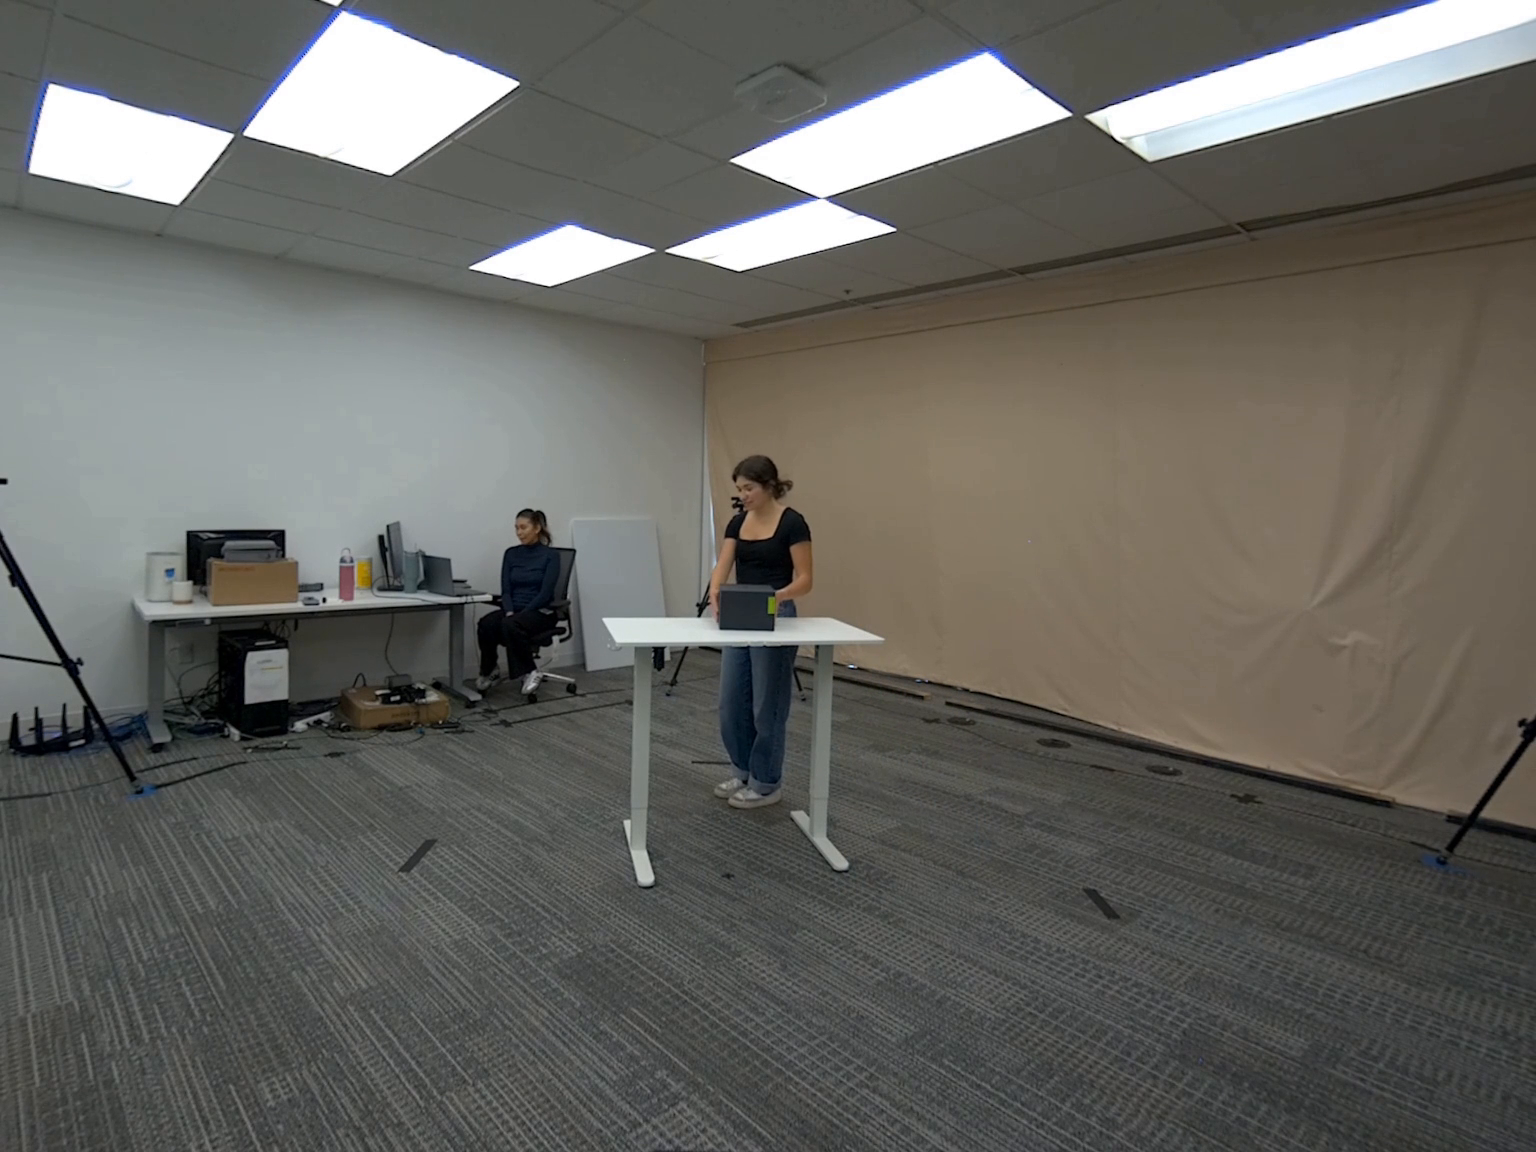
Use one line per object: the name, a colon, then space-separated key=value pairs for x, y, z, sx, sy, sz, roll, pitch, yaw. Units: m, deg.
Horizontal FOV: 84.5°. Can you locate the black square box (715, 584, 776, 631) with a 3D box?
black square box: x=-0.094 y=0.122 z=3.371 sx=0.216 sy=0.155 sz=0.229 roll=1 pitch=5 yaw=-3
